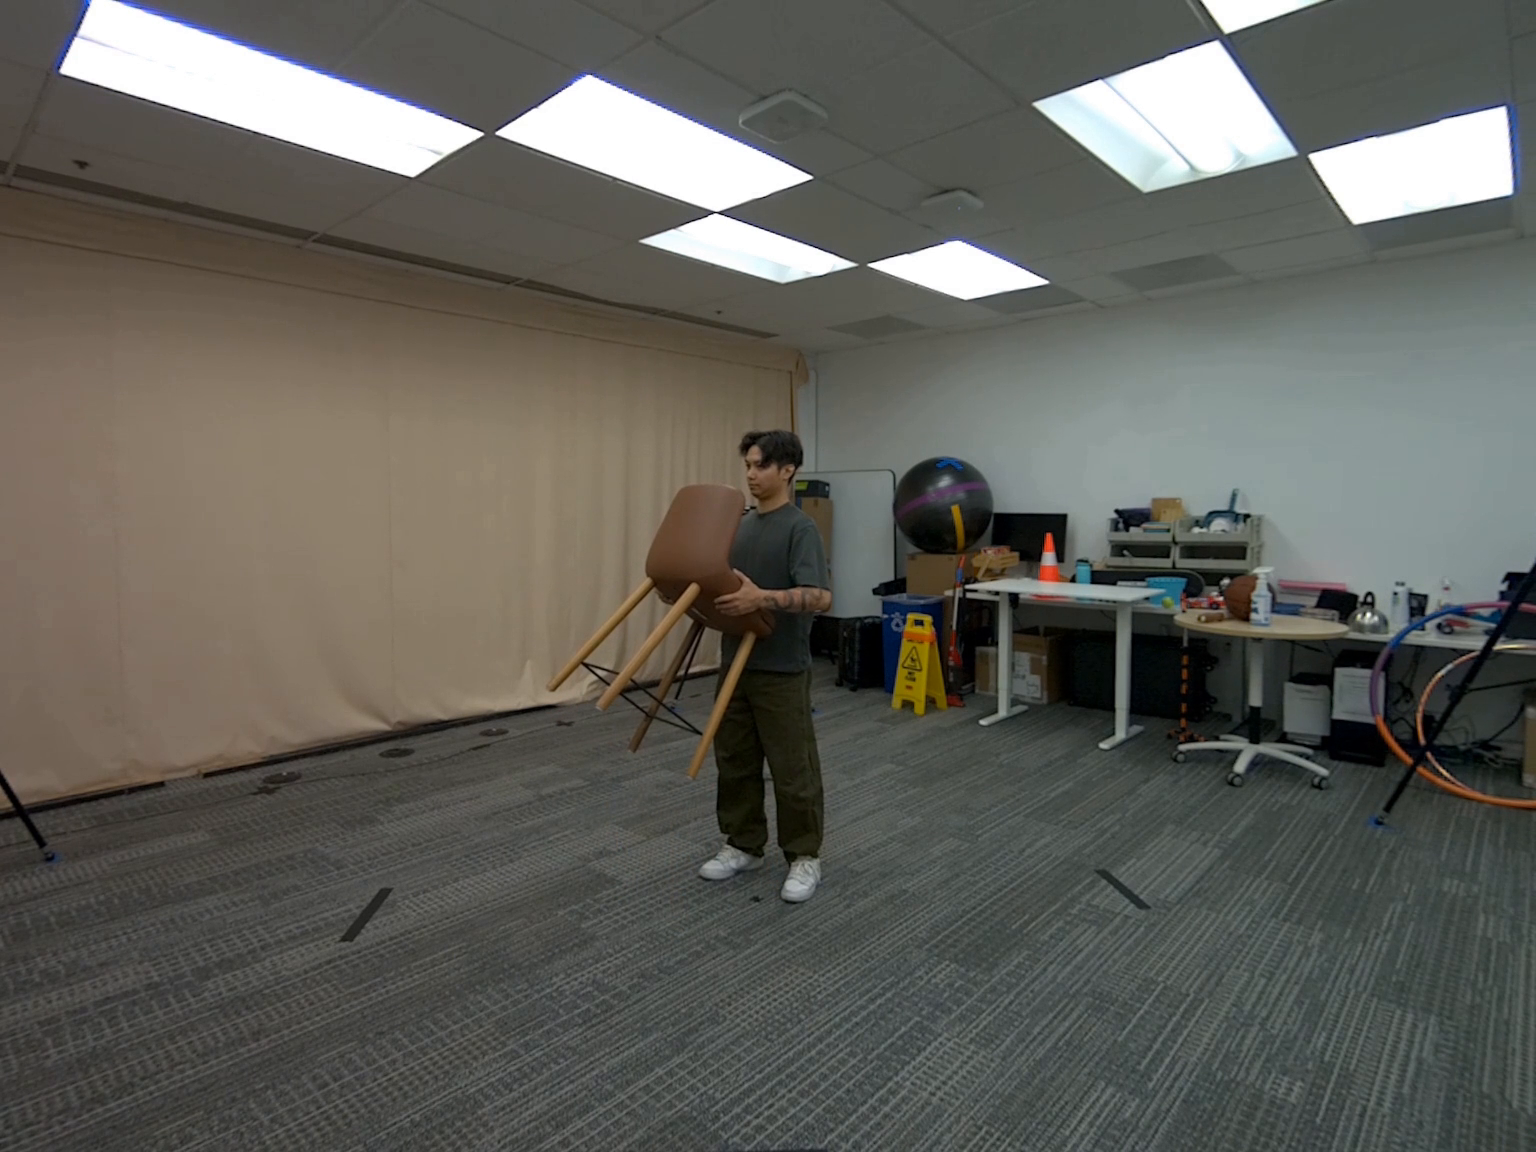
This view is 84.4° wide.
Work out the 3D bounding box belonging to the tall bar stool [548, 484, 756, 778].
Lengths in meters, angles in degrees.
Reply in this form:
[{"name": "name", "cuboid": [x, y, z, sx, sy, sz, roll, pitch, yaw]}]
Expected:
[{"name": "tall bar stool", "cuboid": [-0.284, 0.171, 2.950, 0.453, 0.890, 0.471, 42, -23, -32]}]
